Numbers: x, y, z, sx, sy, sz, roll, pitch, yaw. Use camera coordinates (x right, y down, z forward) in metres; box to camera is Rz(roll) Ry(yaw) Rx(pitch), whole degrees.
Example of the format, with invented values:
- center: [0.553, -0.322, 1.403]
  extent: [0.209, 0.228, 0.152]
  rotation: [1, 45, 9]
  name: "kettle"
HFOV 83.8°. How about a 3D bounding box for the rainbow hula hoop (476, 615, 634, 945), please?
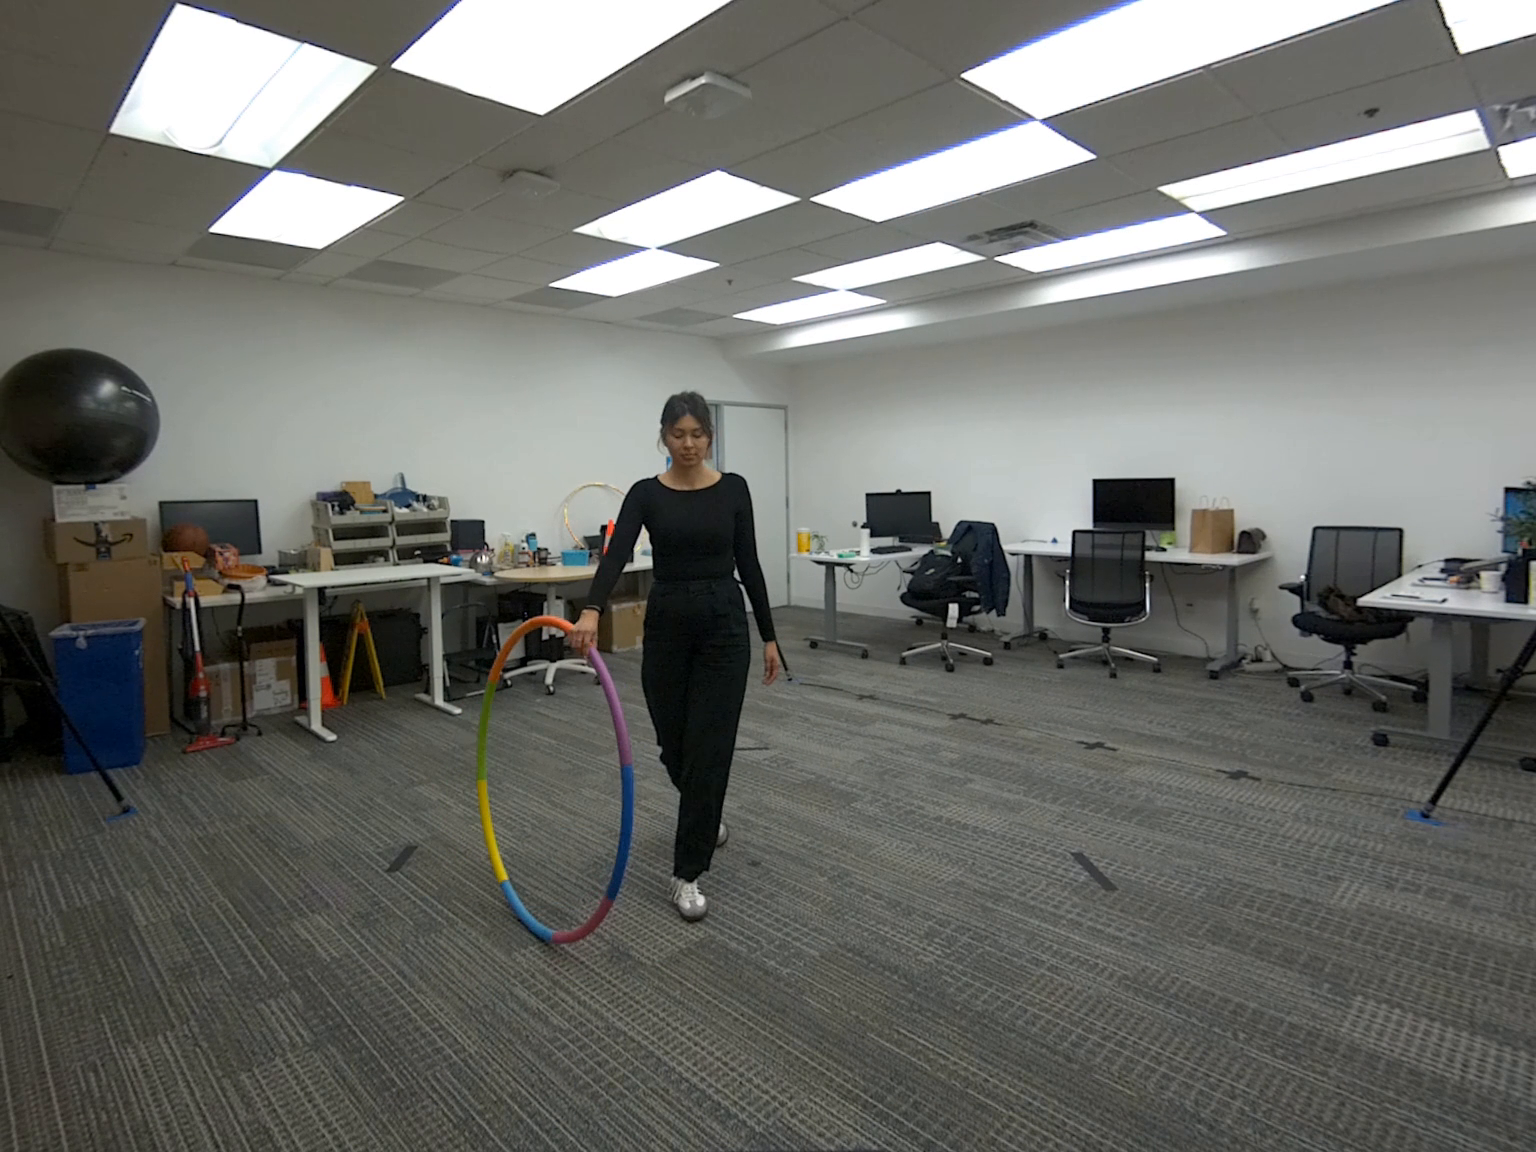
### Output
- center: [-0.691, 0.624, 2.680]
  extent: [0.034, 0.979, 1.008]
  rotation: [5, 0, -40]
  name: "rainbow hula hoop"
